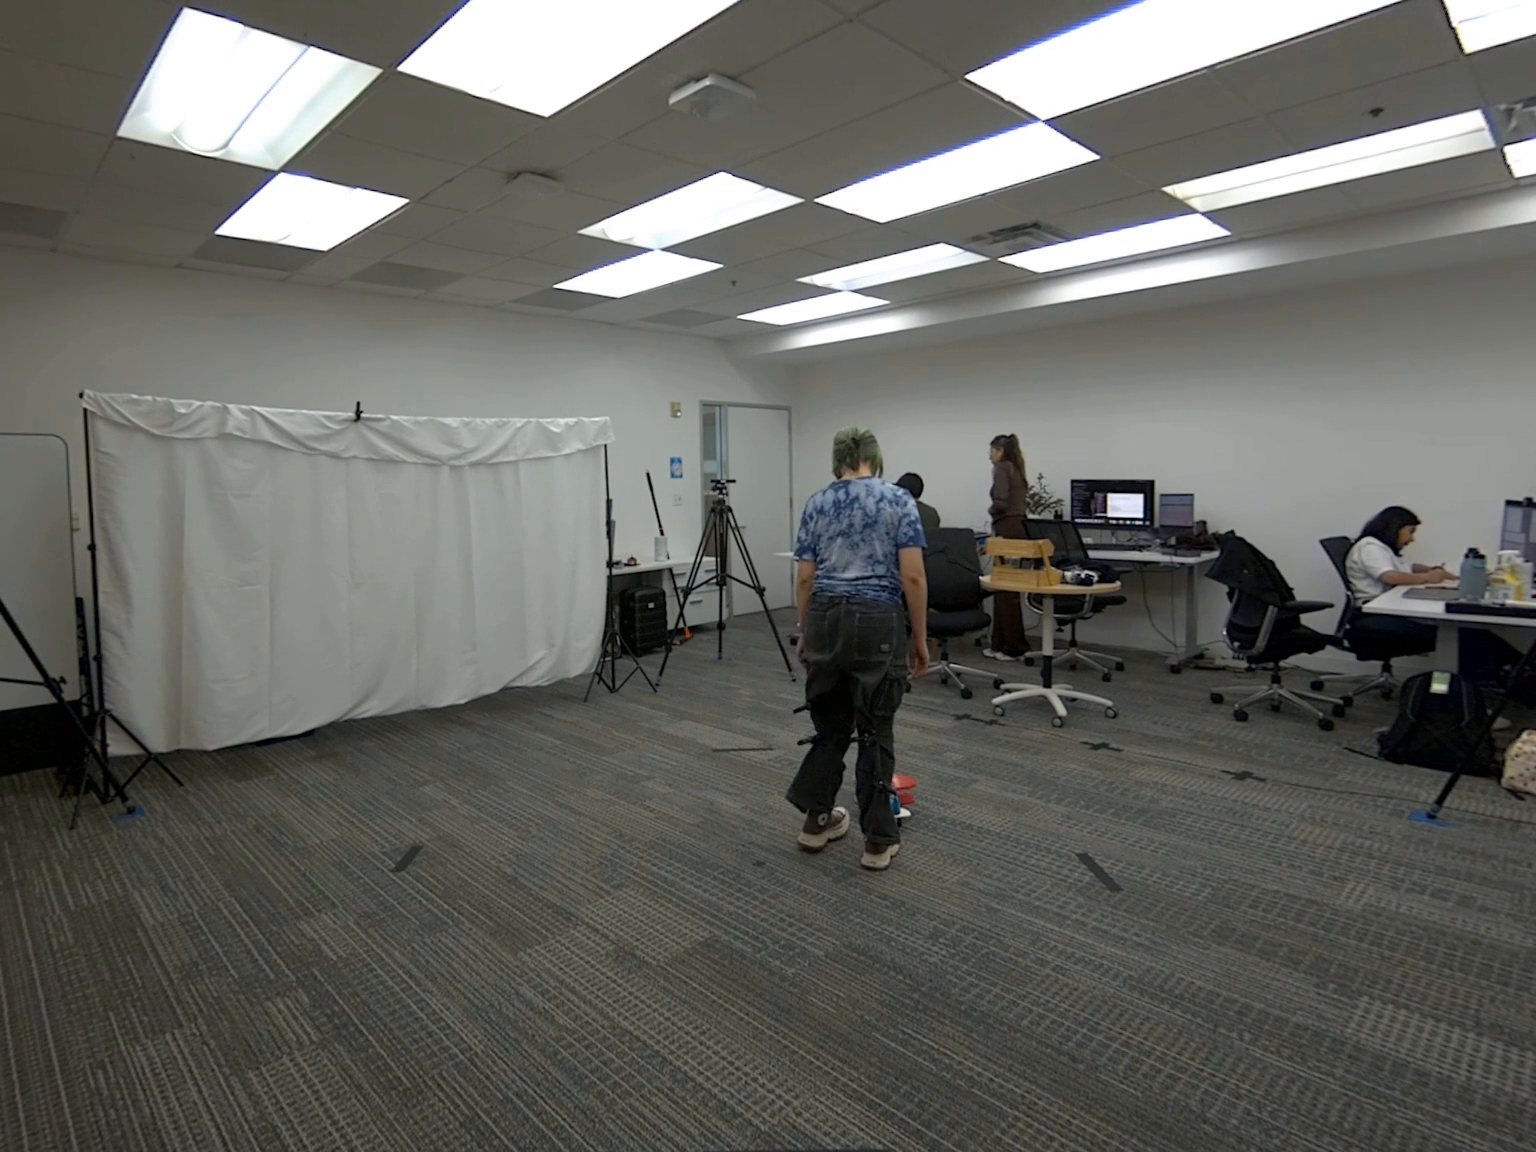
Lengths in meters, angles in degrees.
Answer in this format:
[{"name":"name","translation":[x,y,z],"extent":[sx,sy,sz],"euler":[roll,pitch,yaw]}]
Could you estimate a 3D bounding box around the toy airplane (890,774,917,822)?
[{"name":"toy airplane","translation":[0.516,0.924,3.513],"extent":[0.245,0.156,0.266],"euler":[-4,5,-33]}]
